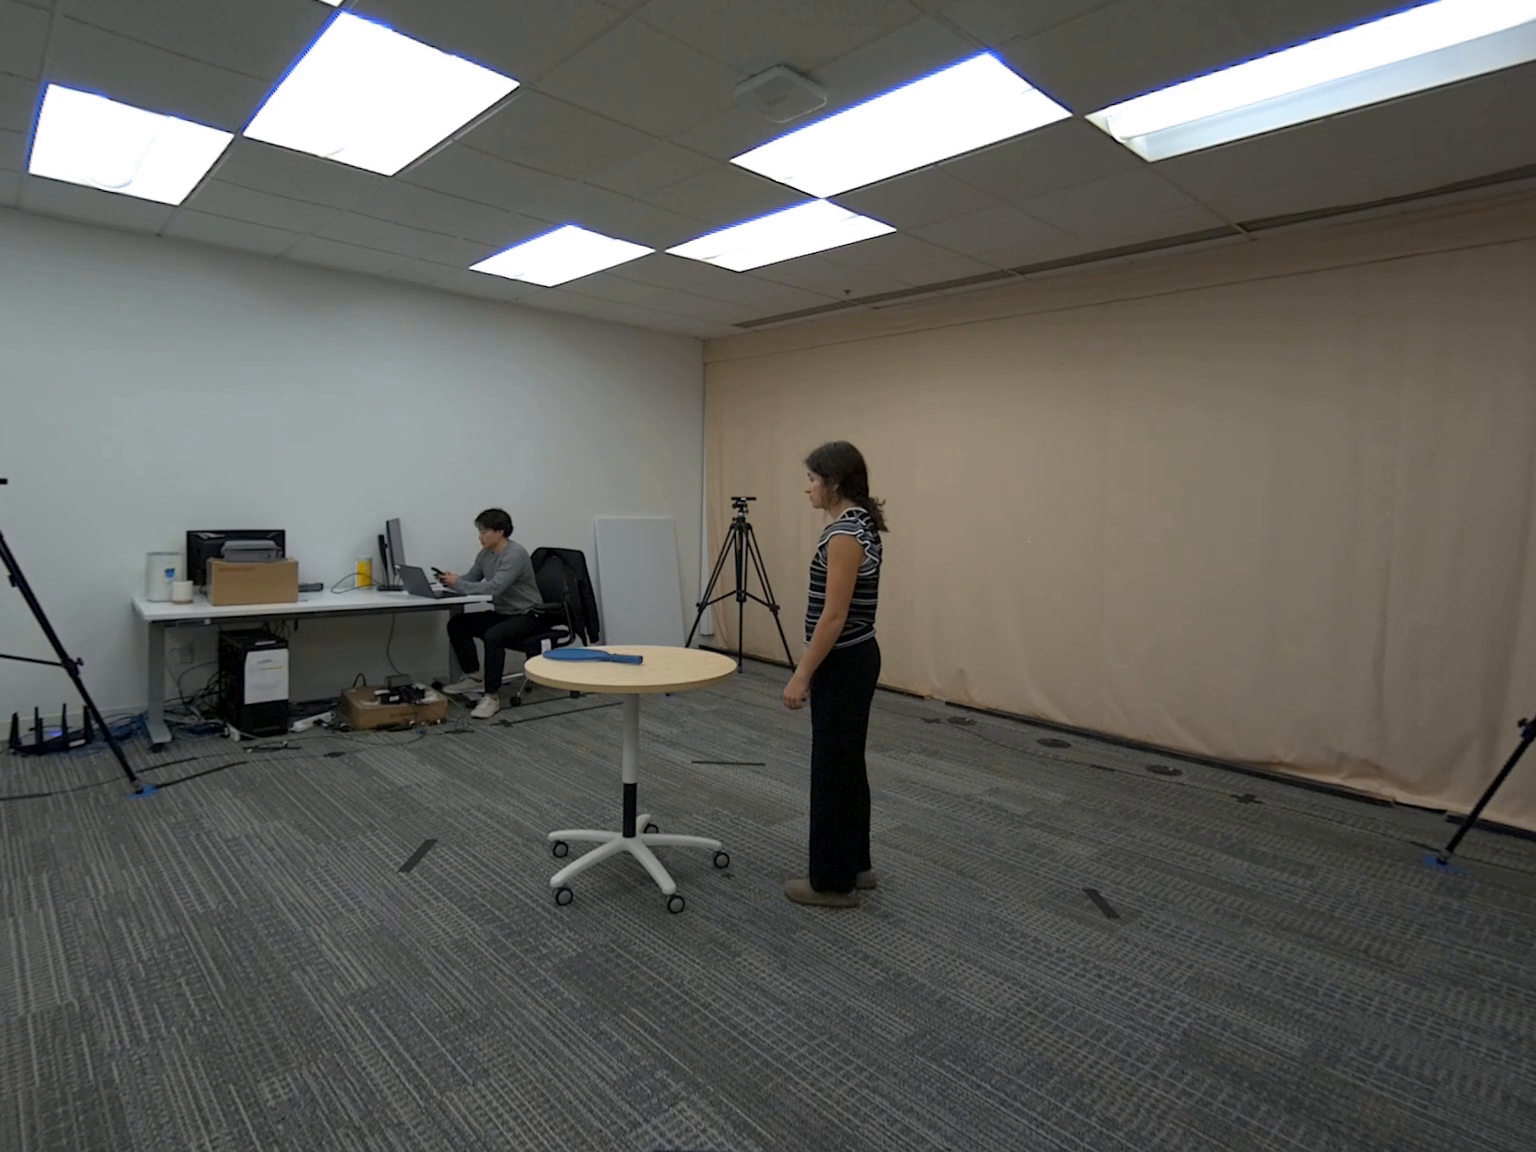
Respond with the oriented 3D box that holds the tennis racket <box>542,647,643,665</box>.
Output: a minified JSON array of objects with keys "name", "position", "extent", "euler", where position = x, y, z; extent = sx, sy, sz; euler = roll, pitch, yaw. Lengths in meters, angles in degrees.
[{"name":"tennis racket","position":[-0.658,0.299,3.133],"extent":[0.441,0.031,0.210],"euler":[2,6,25]}]
